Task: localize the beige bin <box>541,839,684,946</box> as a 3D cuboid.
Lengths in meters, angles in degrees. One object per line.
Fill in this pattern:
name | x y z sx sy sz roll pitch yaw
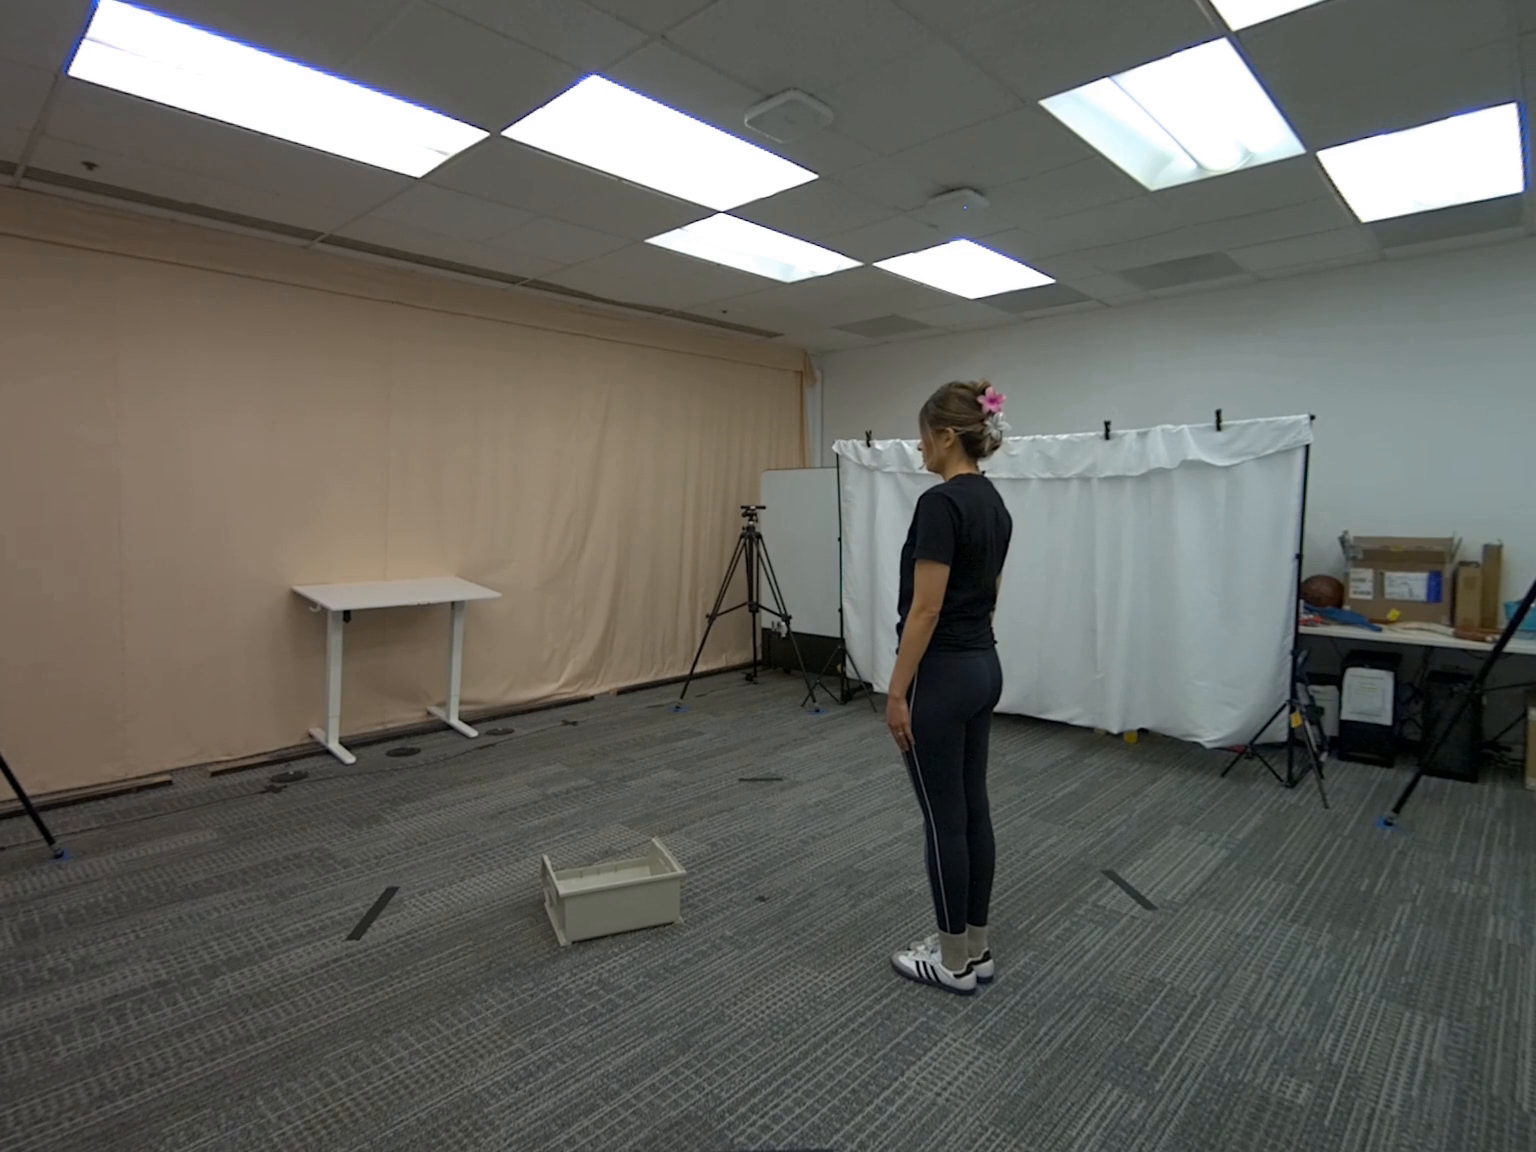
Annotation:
beige bin | -0.542 1.067 2.893 0.413 0.188 0.387 -2 5 -24
